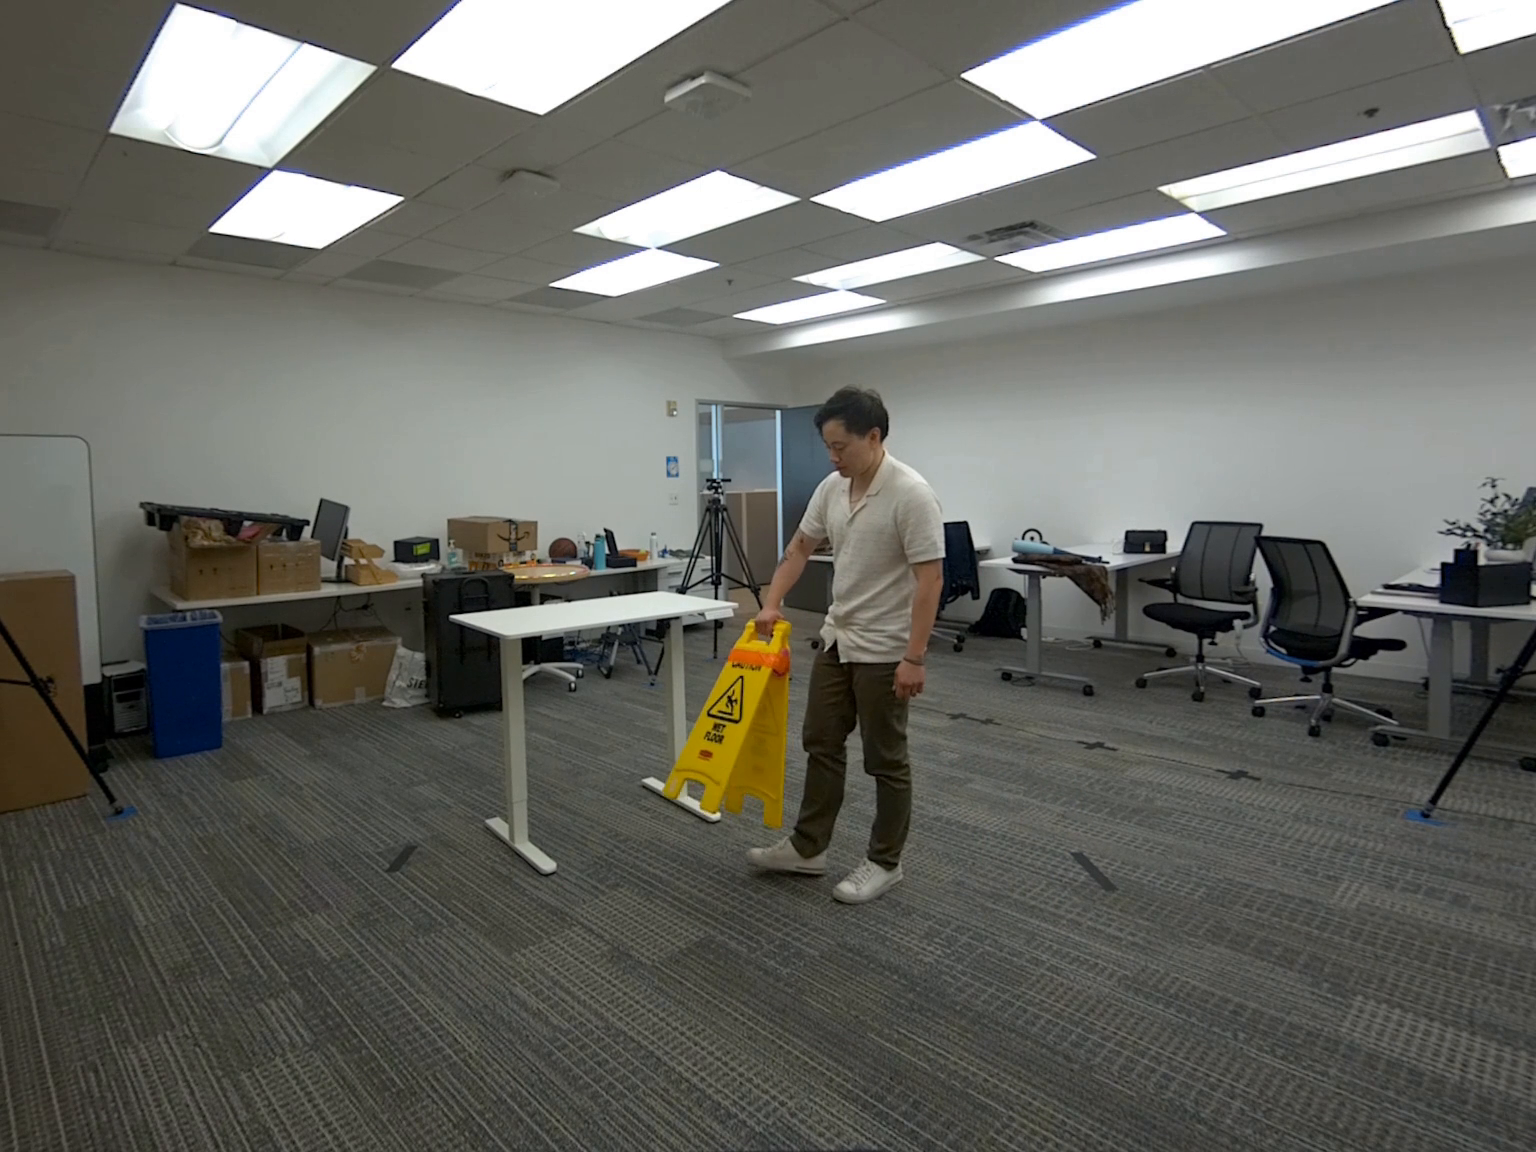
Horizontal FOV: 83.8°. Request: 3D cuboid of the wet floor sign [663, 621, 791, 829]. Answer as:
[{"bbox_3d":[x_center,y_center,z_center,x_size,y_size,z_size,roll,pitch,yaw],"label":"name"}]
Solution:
[{"bbox_3d":[-0.070,0.449,2.824,0.279,0.652,0.290,25,-18,-37],"label":"wet floor sign"}]
